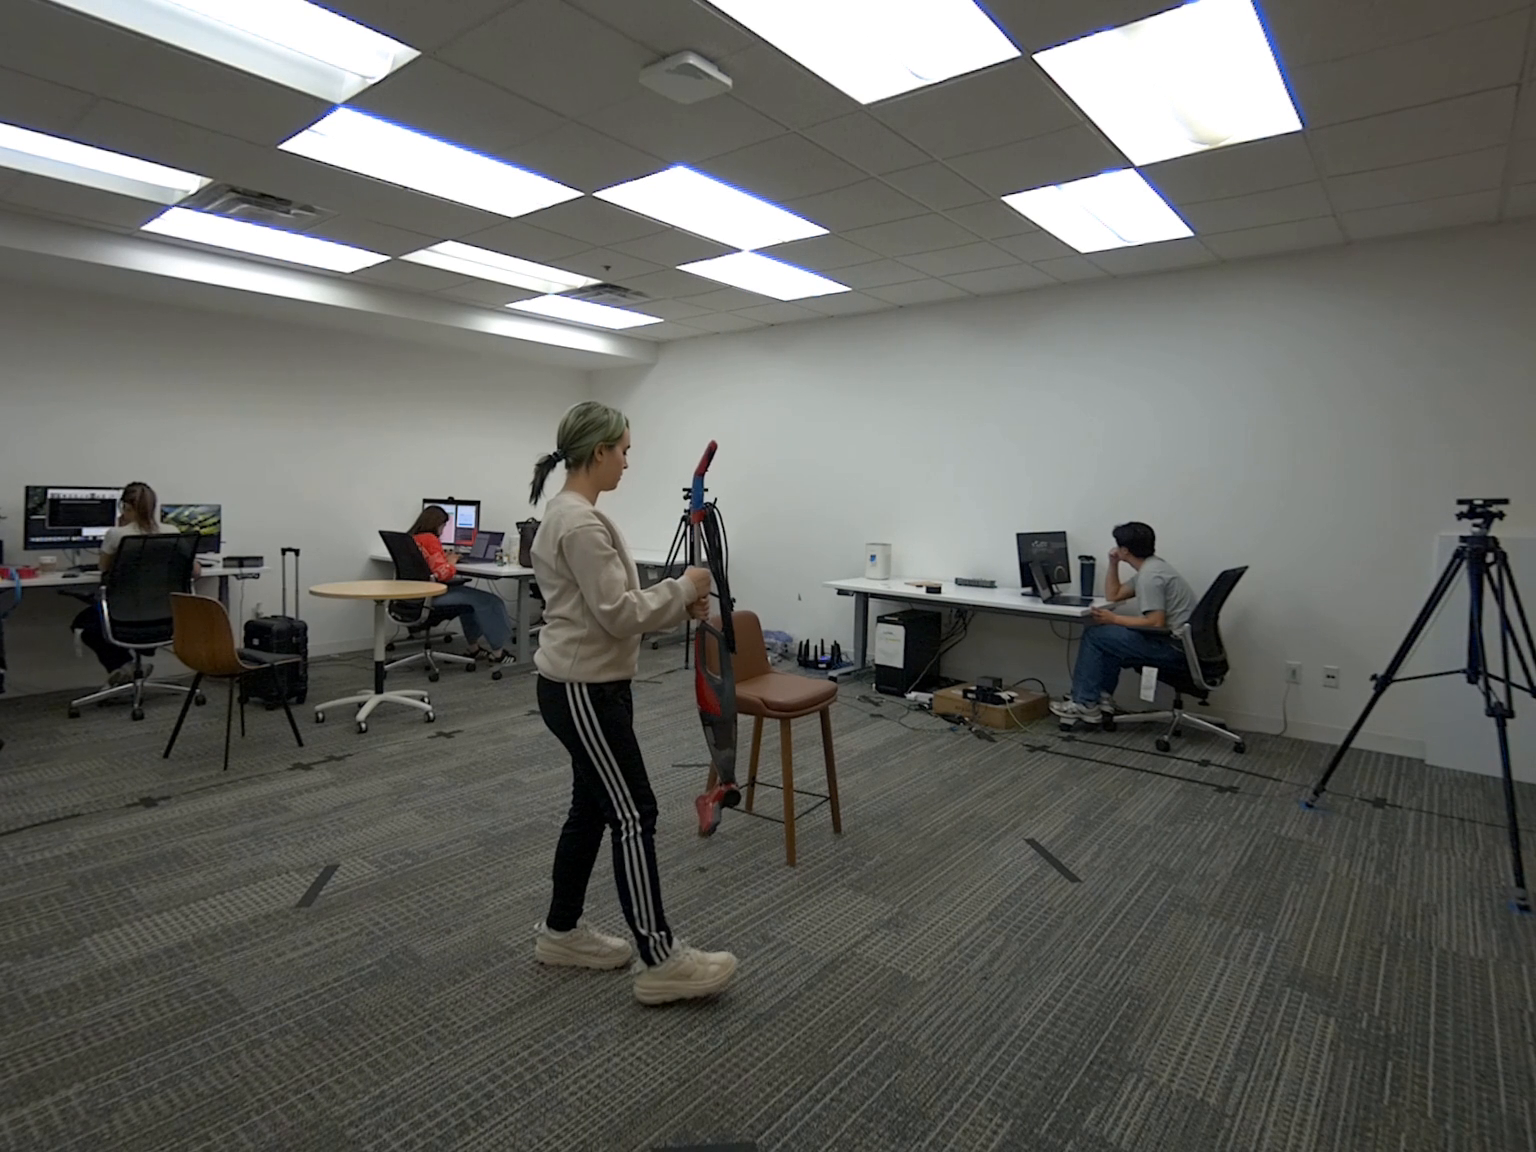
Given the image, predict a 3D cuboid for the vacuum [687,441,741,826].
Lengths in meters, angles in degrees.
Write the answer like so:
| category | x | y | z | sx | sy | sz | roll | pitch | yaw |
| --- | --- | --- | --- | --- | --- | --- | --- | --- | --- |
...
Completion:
| category | x | y | z | sx | sy | sz | roll | pitch | yaw |
| --- | --- | --- | --- | --- | --- | --- | --- | --- | --- |
| vacuum | -0.155 | 0.139 | 2.462 | 0.145 | 1.046 | 0.252 | 0 | 3 | 4 |
